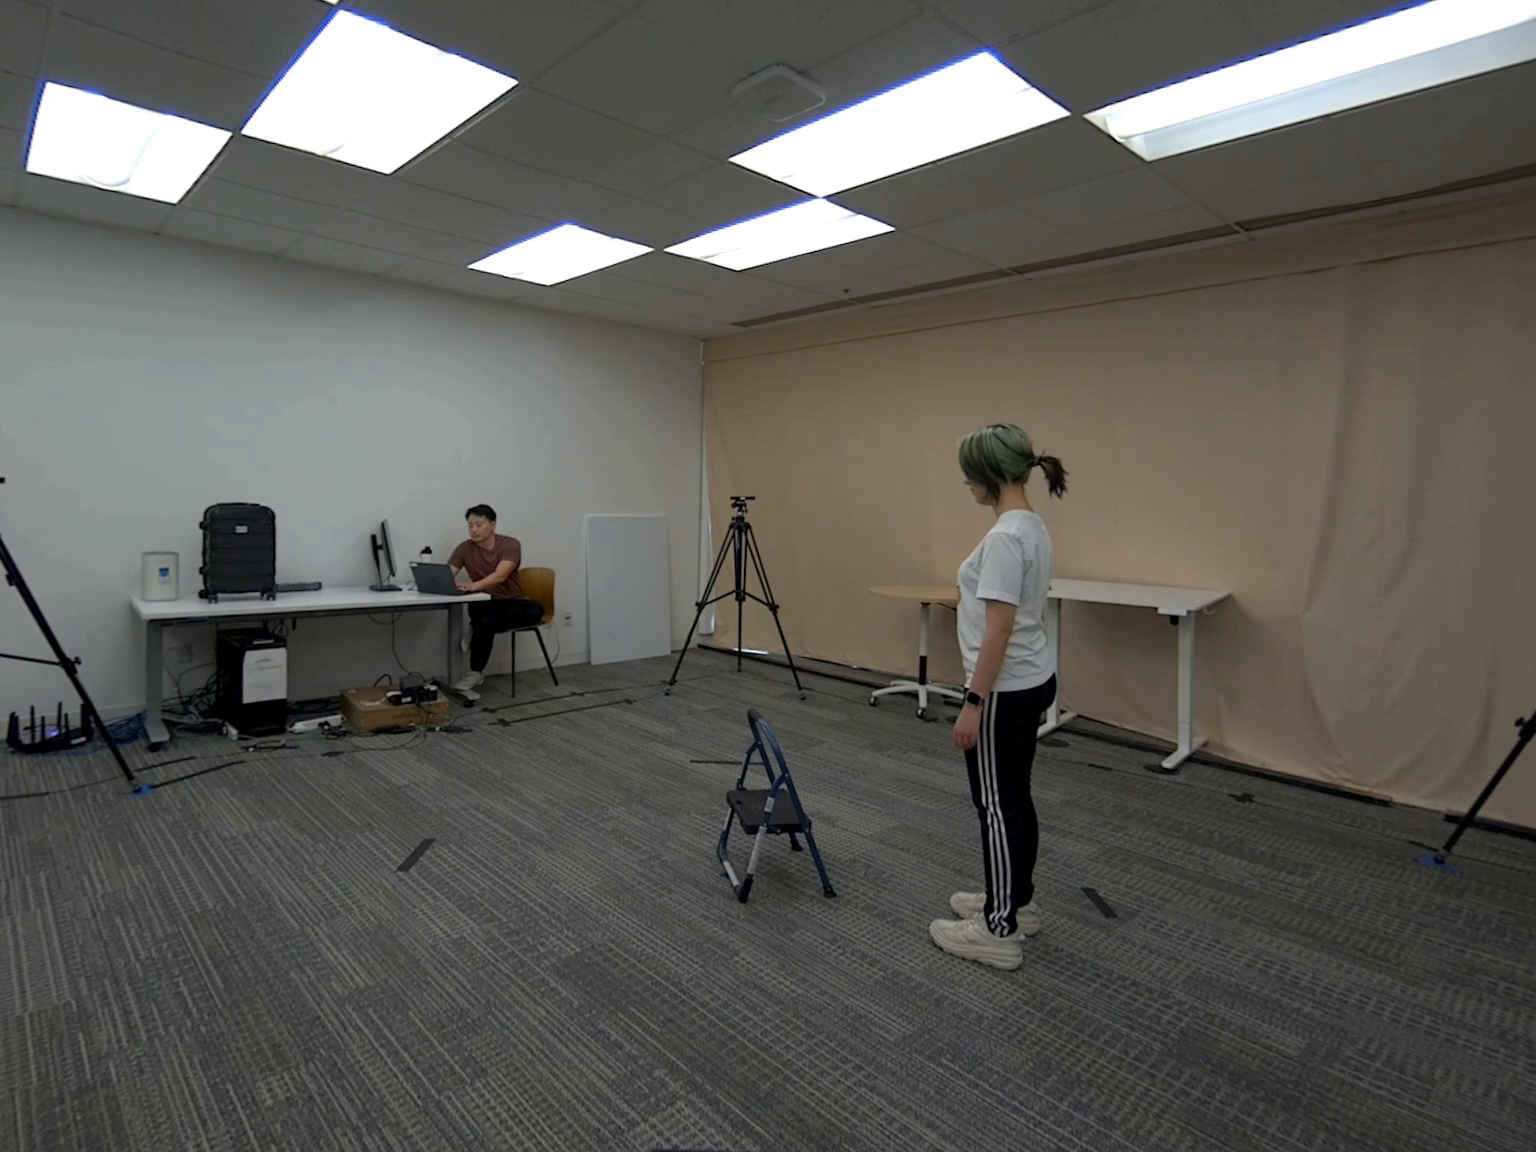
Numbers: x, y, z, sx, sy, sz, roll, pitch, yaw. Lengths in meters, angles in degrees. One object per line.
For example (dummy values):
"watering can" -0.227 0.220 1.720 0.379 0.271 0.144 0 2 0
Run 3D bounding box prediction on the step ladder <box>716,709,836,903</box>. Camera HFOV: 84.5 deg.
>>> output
"step ladder" 0.018 0.806 3.107 0.345 0.605 0.436 0 3 -15
